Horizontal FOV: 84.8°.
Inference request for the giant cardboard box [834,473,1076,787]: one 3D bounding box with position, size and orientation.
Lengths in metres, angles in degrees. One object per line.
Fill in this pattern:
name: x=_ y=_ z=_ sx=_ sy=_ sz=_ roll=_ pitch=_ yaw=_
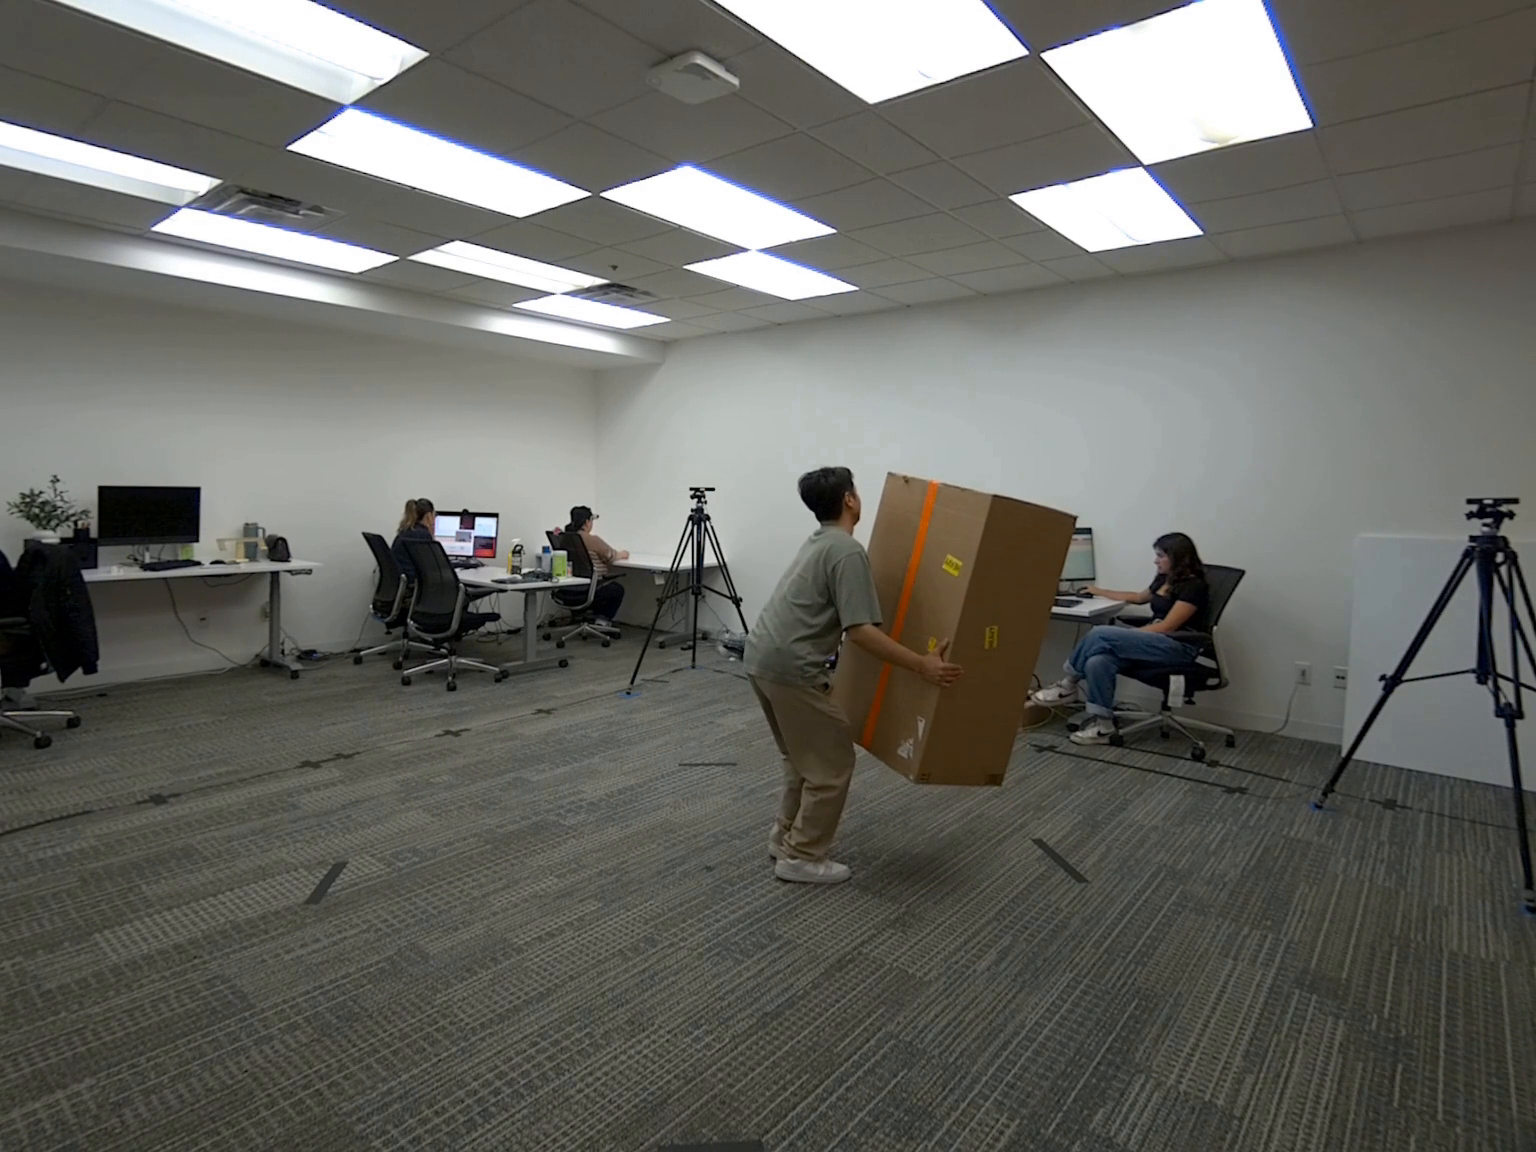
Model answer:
giant cardboard box: x=0.650 y=0.180 z=3.197 sx=0.413 sy=1.021 sz=0.598 roll=10 pitch=7 yaw=-30
